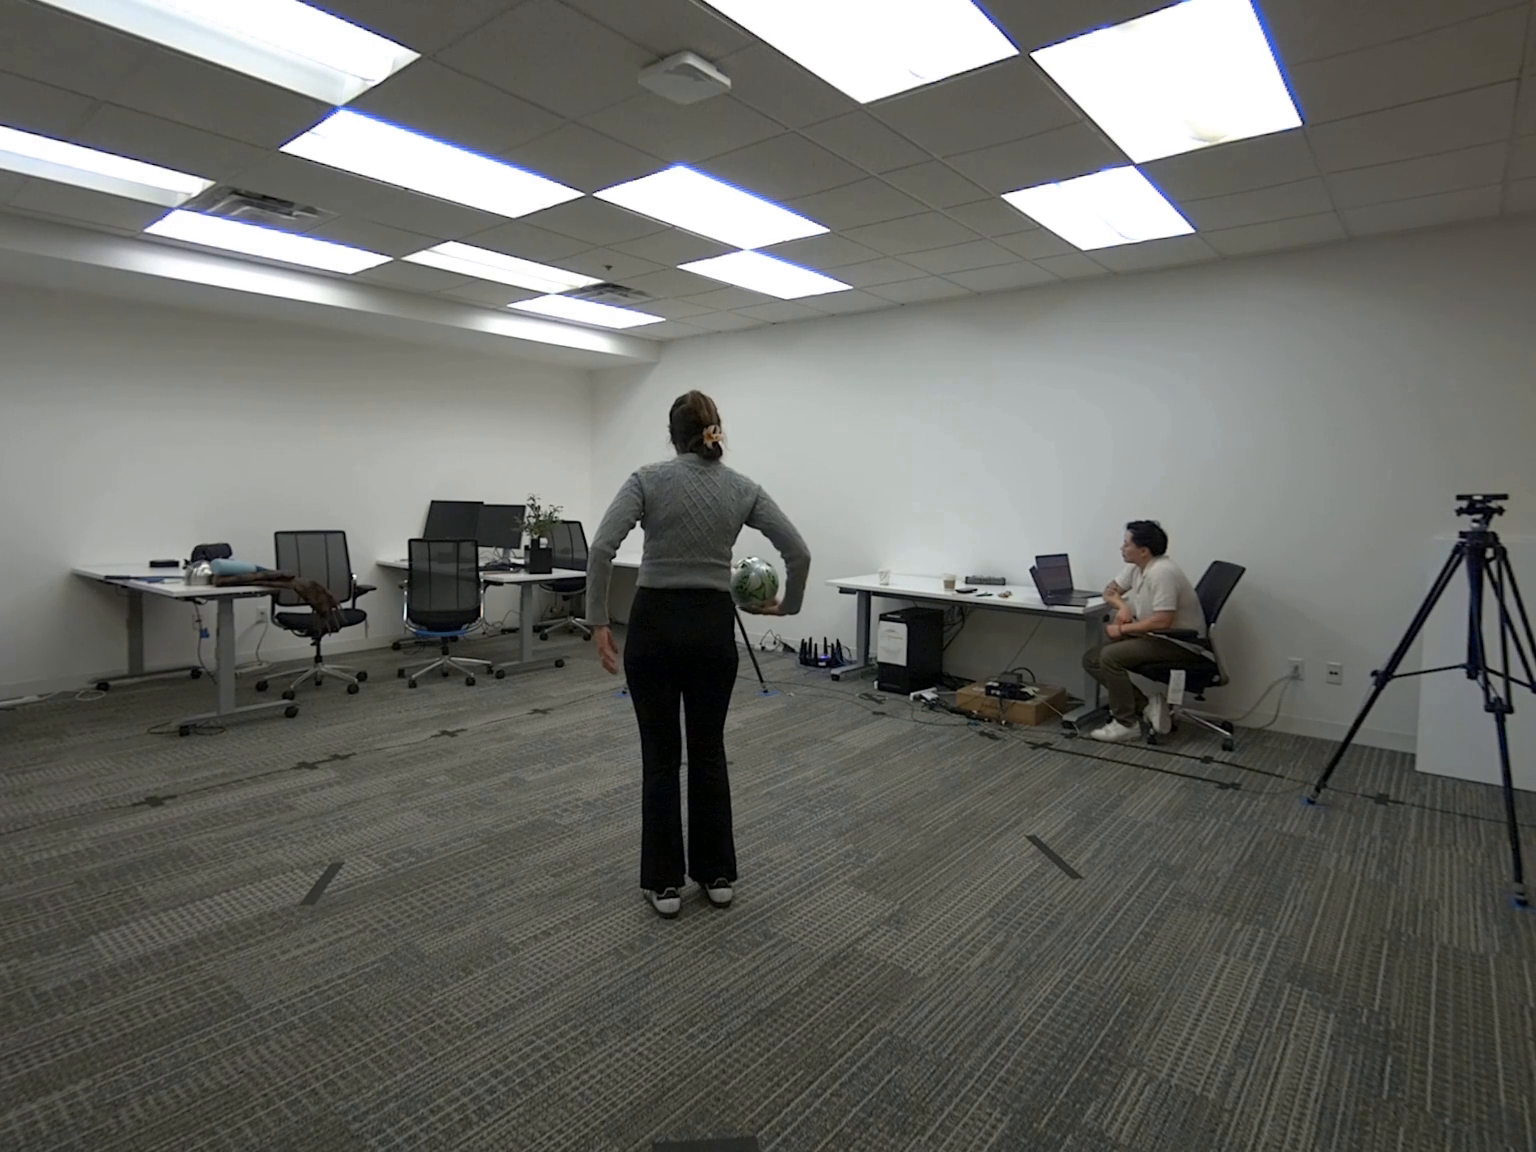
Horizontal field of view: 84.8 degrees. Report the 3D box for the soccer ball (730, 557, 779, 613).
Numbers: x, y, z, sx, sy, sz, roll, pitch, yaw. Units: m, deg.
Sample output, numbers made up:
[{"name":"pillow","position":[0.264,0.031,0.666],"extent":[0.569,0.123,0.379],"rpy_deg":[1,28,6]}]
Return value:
[{"name":"soccer ball","position":[-0.064,0.023,3.027],"extent":[0.187,0.187,0.188],"rpy_deg":[0,4,-2]}]
